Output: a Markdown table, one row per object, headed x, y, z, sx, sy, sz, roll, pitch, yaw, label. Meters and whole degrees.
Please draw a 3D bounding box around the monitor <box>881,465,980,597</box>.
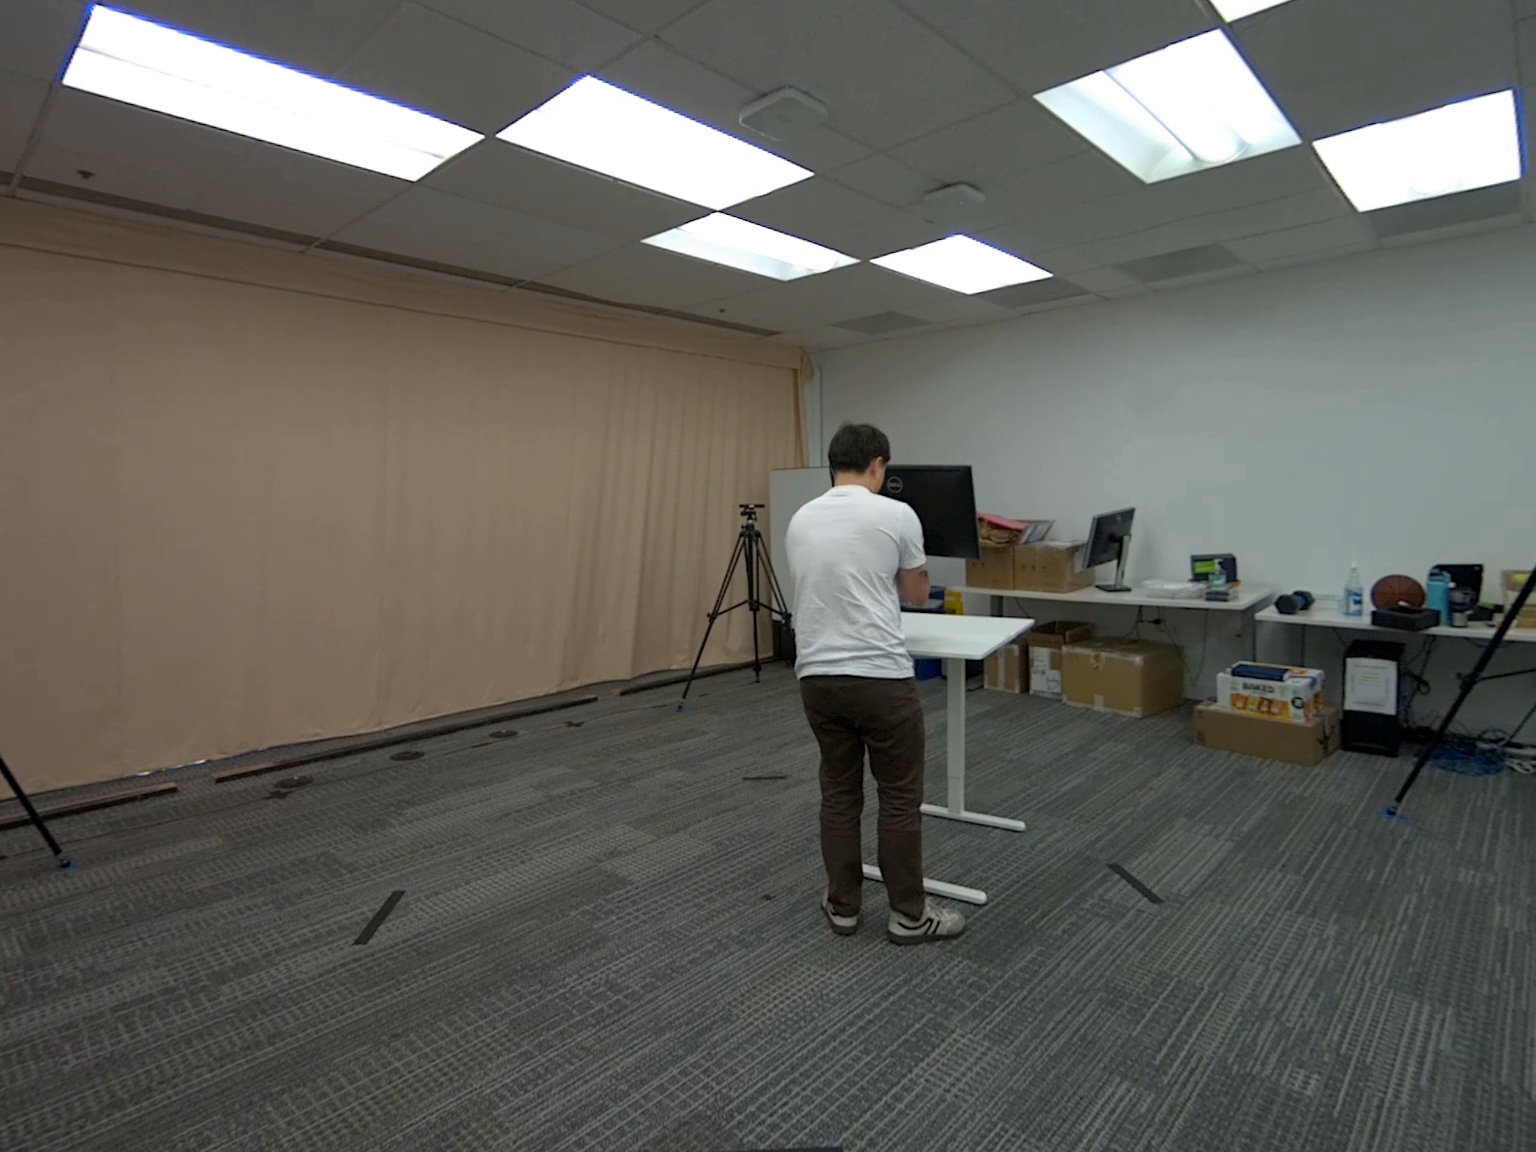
| x | y | z | sx | sy | sz | roll | pitch | yaw | label |
| --- | --- | --- | --- | --- | --- | --- | --- | --- | --- |
| 0.481 | -0.143 | 3.022 | 0.556 | 0.518 | 0.183 | 4 | 16 | 33 | monitor |
